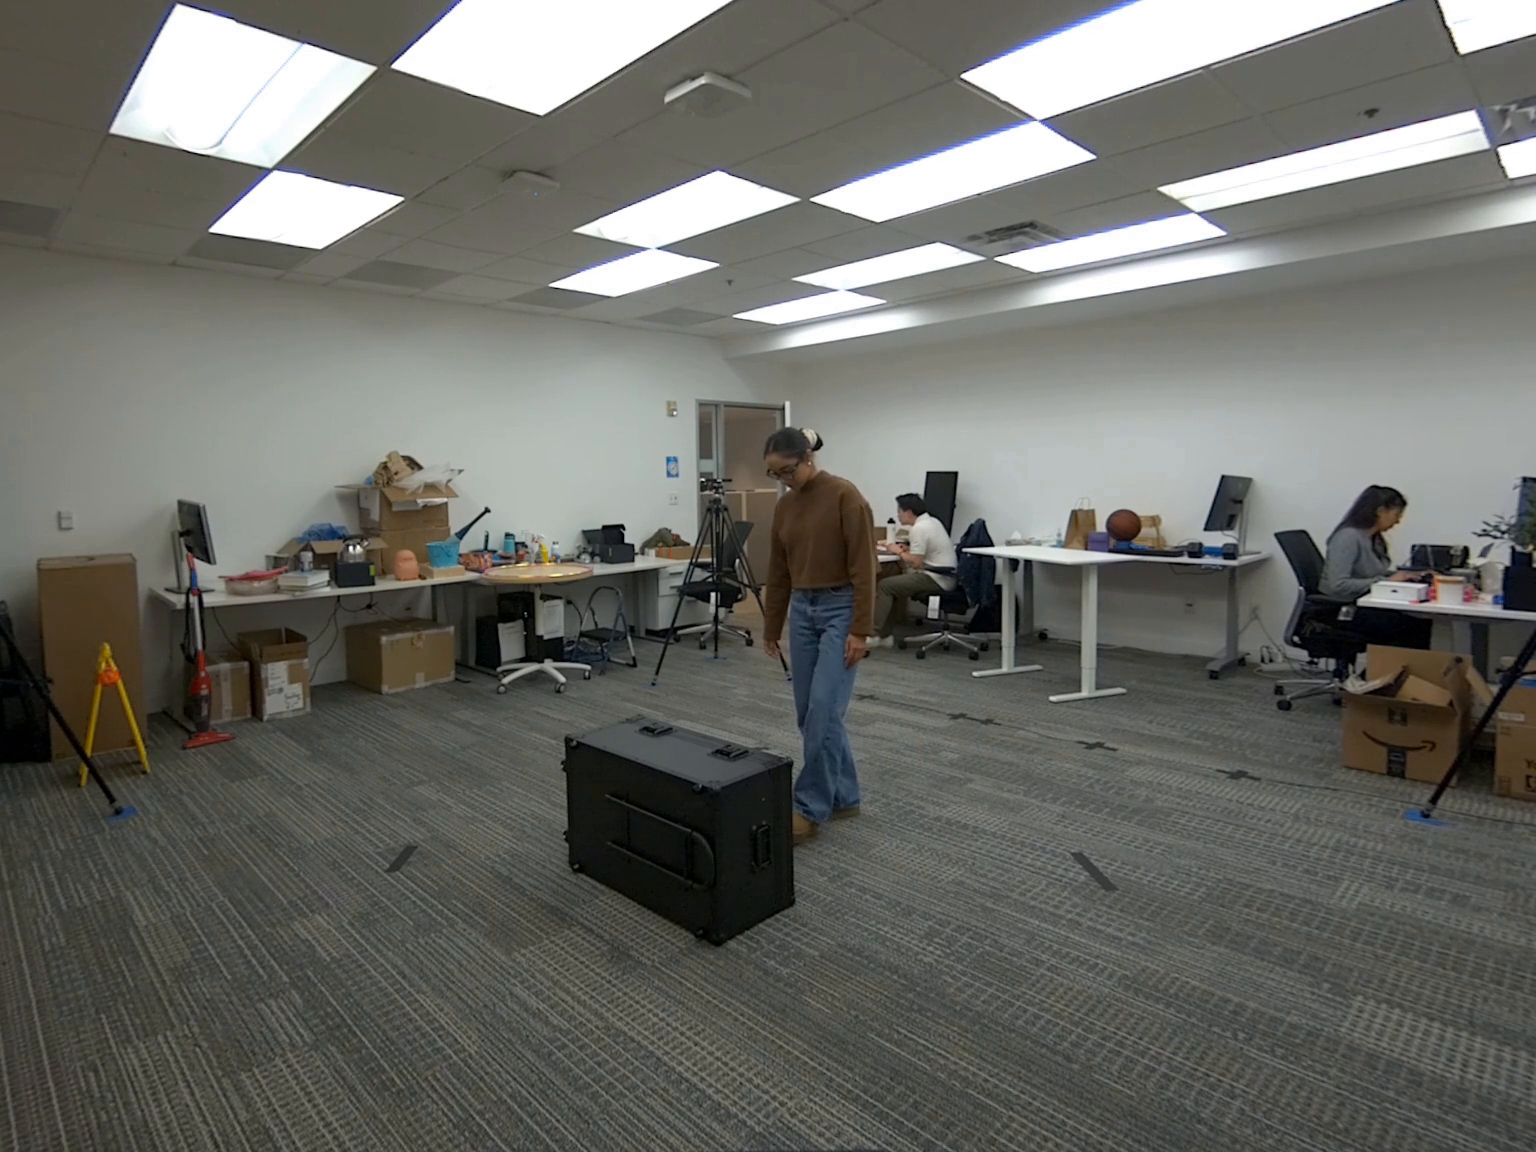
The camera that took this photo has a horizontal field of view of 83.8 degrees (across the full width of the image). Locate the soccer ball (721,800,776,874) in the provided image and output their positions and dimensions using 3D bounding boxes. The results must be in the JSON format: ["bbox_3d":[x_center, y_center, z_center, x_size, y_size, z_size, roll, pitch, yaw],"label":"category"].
[{"bbox_3d":[-0.075,0.939,3.103,0.187,0.187,0.188,-1,5,-2],"label":"soccer ball"}]
